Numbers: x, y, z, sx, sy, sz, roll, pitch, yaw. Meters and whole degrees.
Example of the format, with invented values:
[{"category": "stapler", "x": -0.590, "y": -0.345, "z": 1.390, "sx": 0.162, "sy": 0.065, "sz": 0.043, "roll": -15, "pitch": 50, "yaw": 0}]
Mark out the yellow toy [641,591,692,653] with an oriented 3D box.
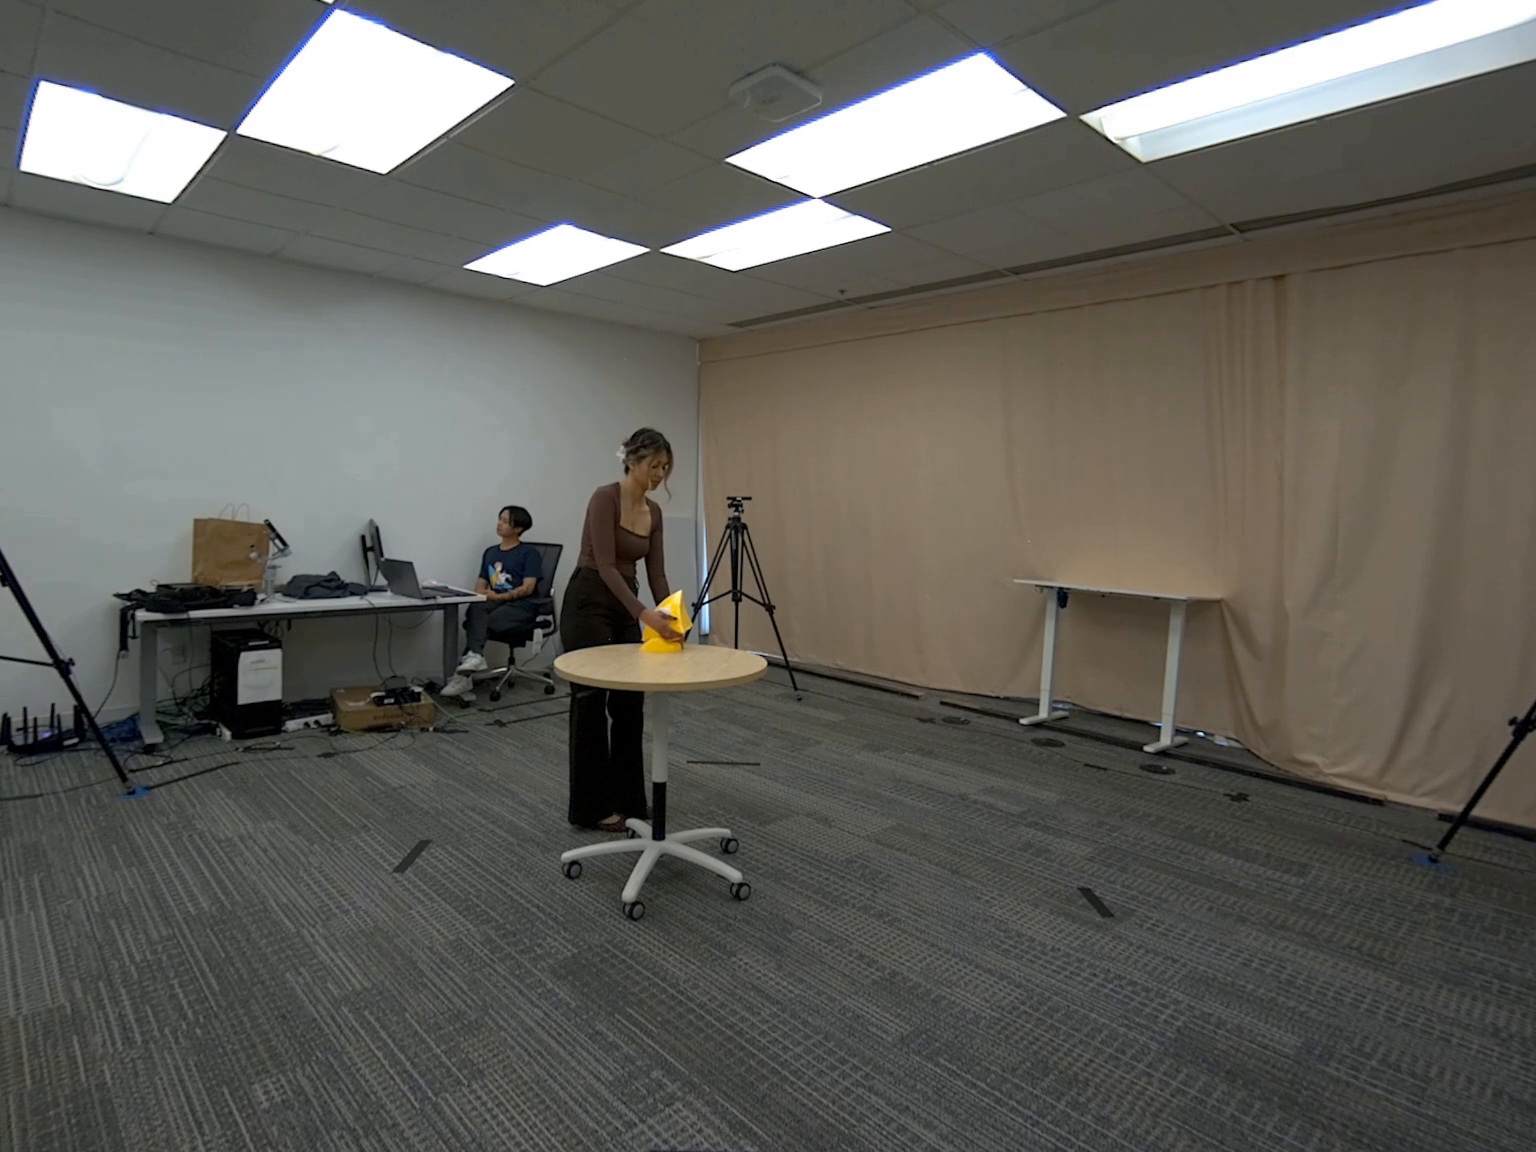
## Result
[{"category": "yellow toy", "x": -0.410, "y": 0.168, "z": 3.318, "sx": 0.194, "sy": 0.230, "sz": 0.204, "roll": 2, "pitch": 3, "yaw": 6}]
